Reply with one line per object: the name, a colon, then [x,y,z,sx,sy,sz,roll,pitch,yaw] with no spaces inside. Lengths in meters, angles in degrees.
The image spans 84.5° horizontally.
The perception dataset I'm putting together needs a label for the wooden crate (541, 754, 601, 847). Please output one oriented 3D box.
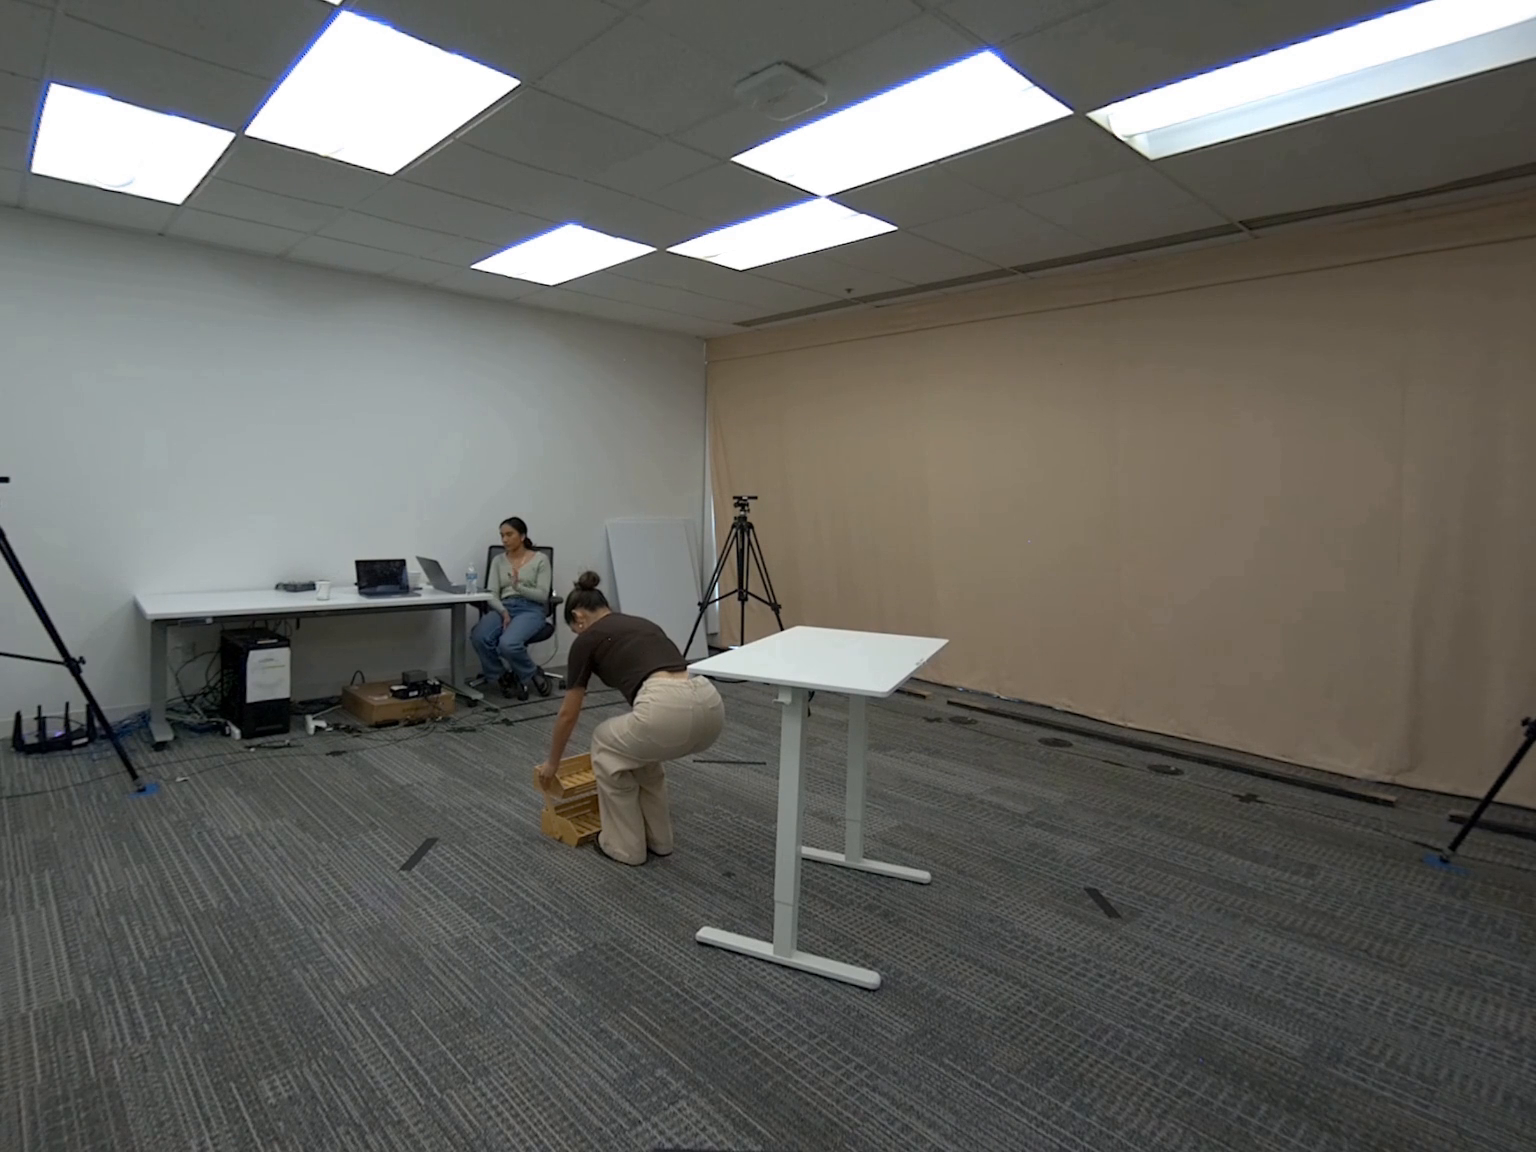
wooden crate: [-0.760,0.912,3.496,0.309,0.272,0.317,4,5,40]
